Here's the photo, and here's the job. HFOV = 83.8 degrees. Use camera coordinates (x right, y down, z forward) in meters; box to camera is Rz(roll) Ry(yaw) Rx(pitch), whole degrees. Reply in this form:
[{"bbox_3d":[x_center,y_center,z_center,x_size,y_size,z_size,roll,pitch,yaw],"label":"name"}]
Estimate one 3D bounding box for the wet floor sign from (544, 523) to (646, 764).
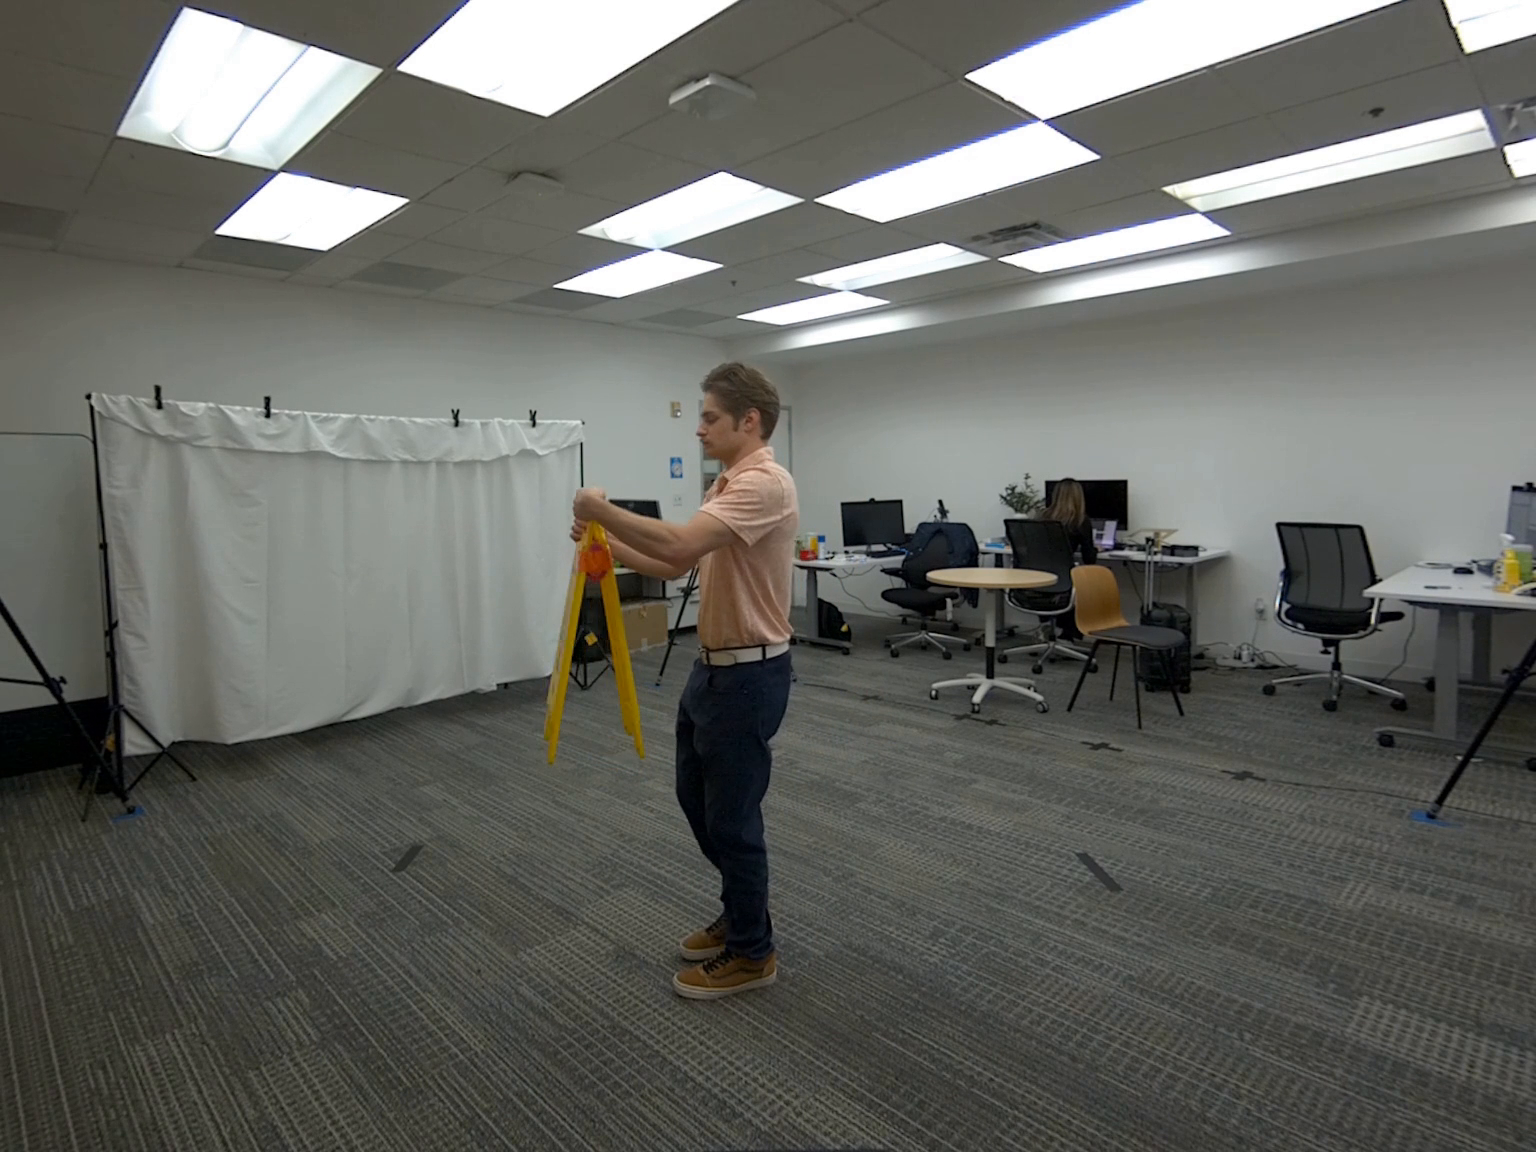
[{"bbox_3d":[-0.459,0.137,2.258,0.285,0.644,0.287,1,5,-16],"label":"wet floor sign"}]
